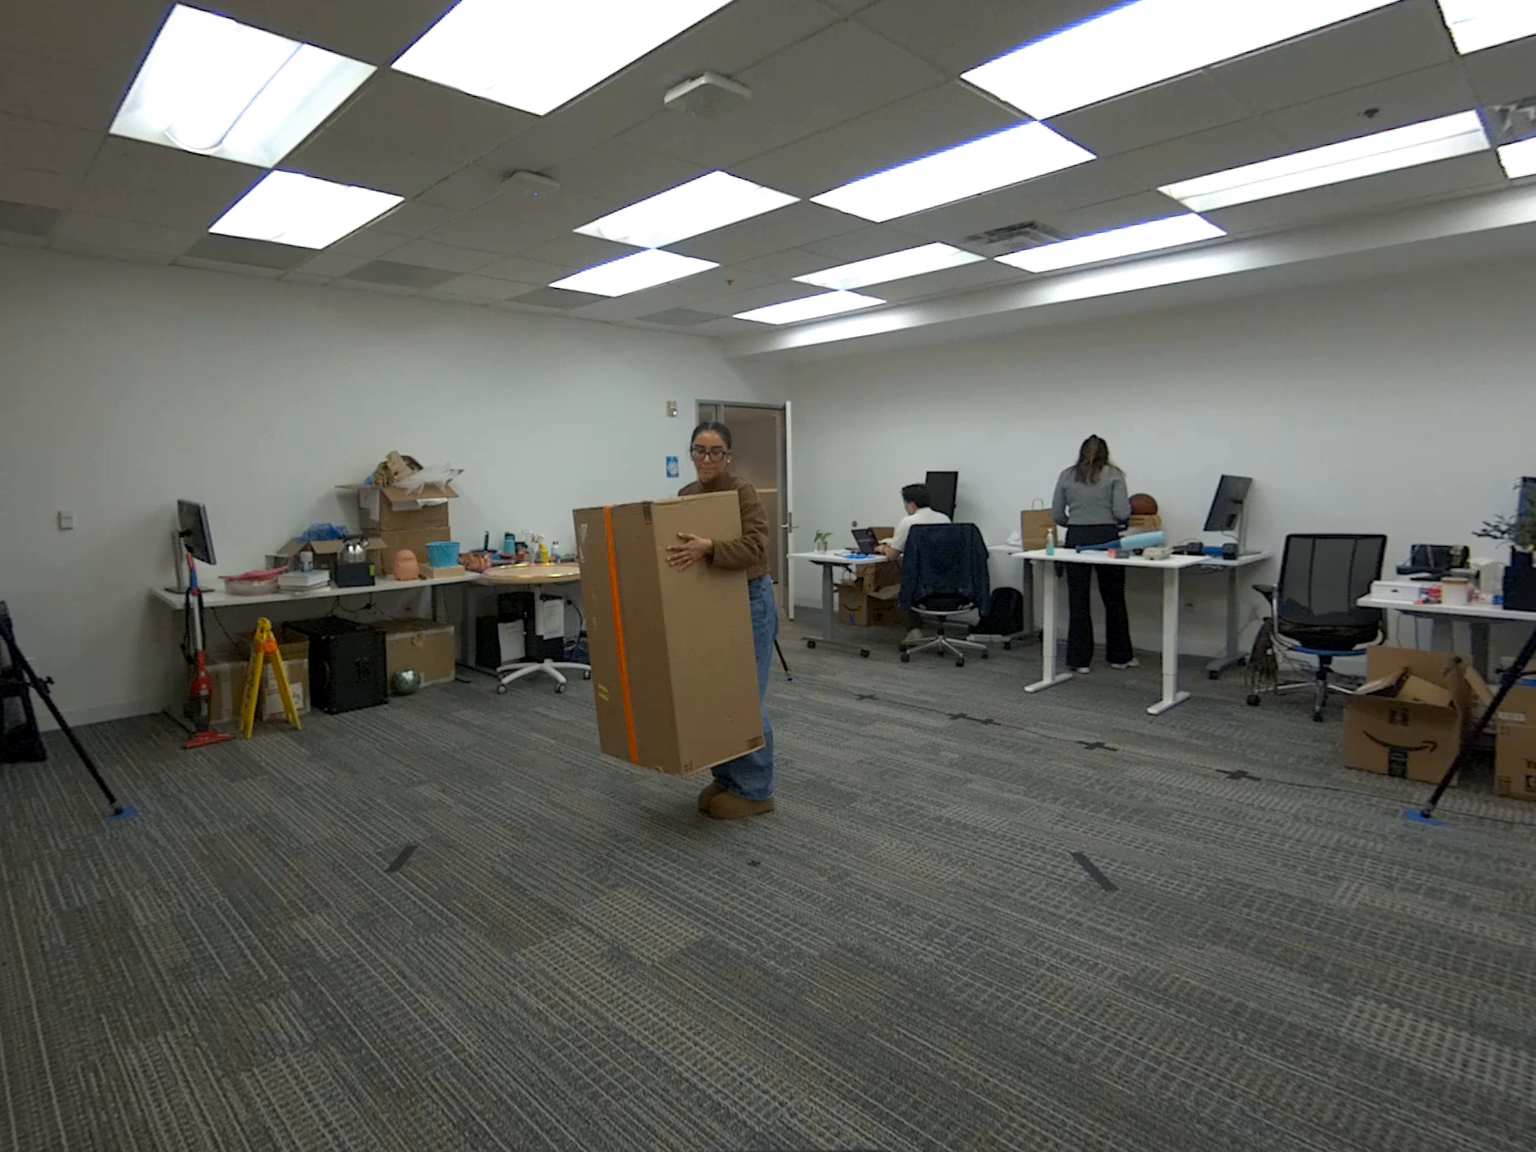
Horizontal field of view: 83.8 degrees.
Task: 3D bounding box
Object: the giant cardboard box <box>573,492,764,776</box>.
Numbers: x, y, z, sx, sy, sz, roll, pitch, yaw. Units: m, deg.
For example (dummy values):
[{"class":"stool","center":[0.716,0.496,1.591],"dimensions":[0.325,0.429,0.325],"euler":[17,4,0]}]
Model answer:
[{"class":"giant cardboard box","center":[-0.420,0.216,3.443],"dimensions":[0.416,1.022,0.594],"euler":[-9,5,-41]}]
